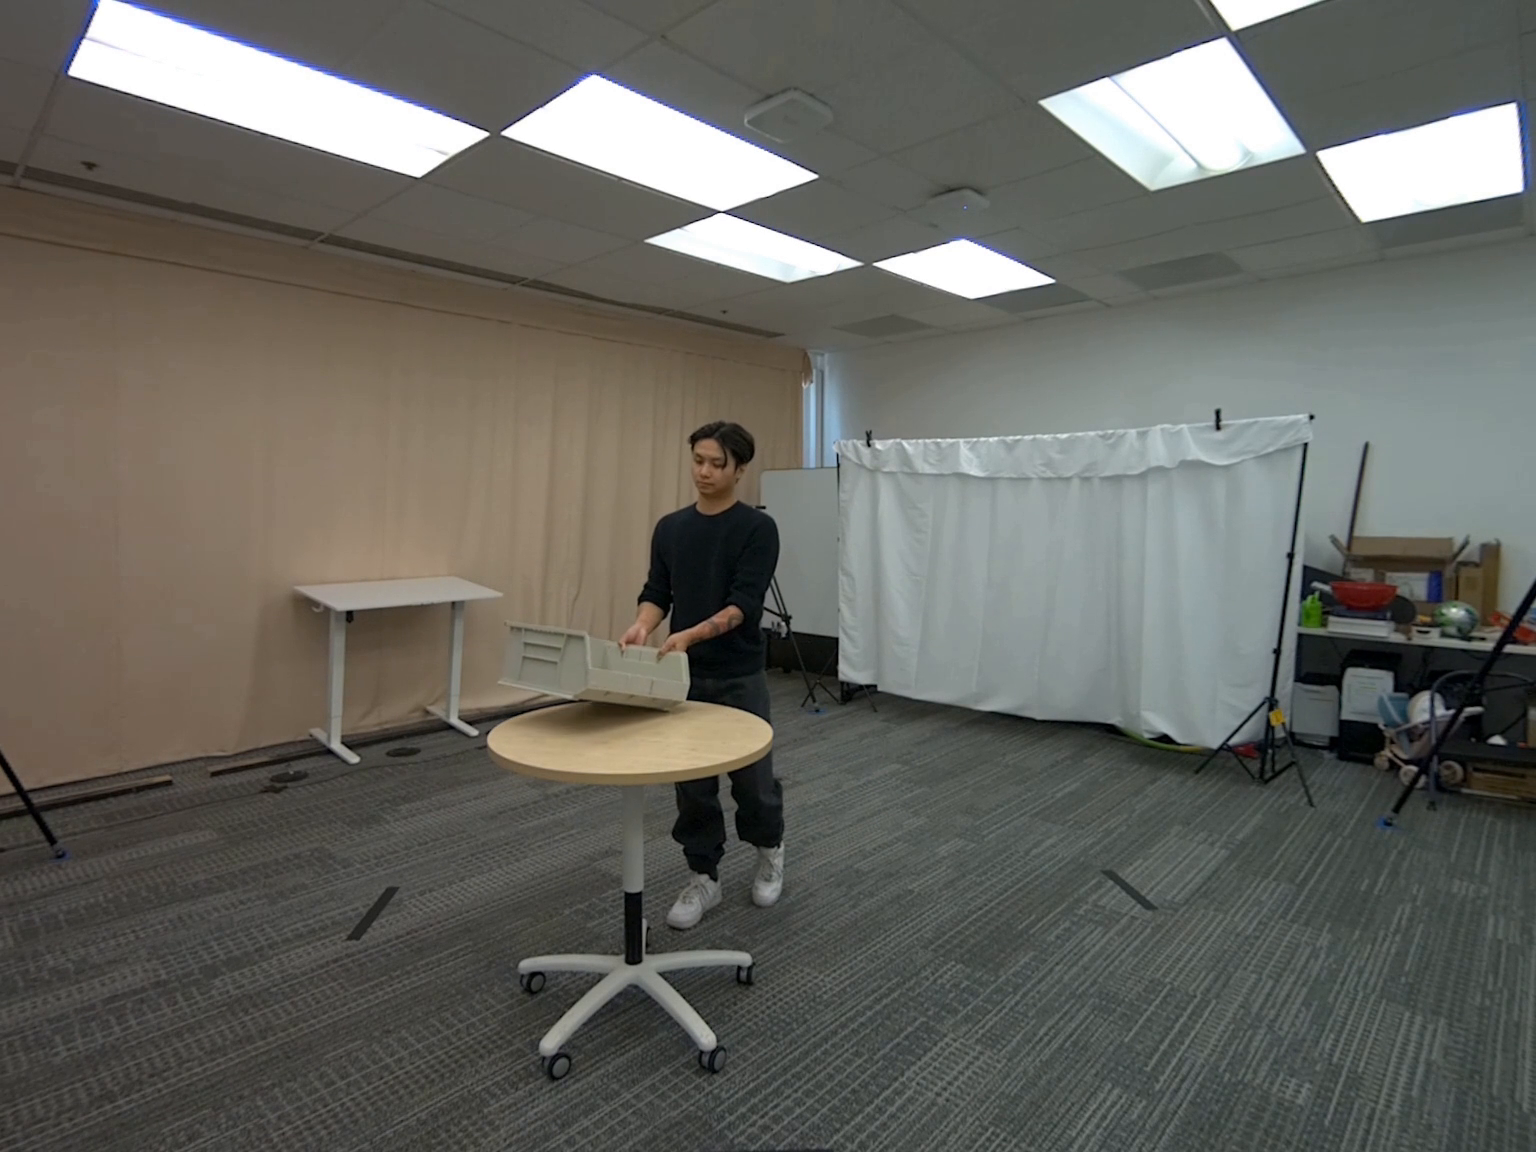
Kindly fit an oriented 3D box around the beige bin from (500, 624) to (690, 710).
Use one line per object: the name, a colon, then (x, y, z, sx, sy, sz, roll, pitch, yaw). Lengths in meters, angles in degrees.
beige bin: (-0.497, 0.268, 2.450, 0.389, 0.190, 0.407, 2, -10, 37)
